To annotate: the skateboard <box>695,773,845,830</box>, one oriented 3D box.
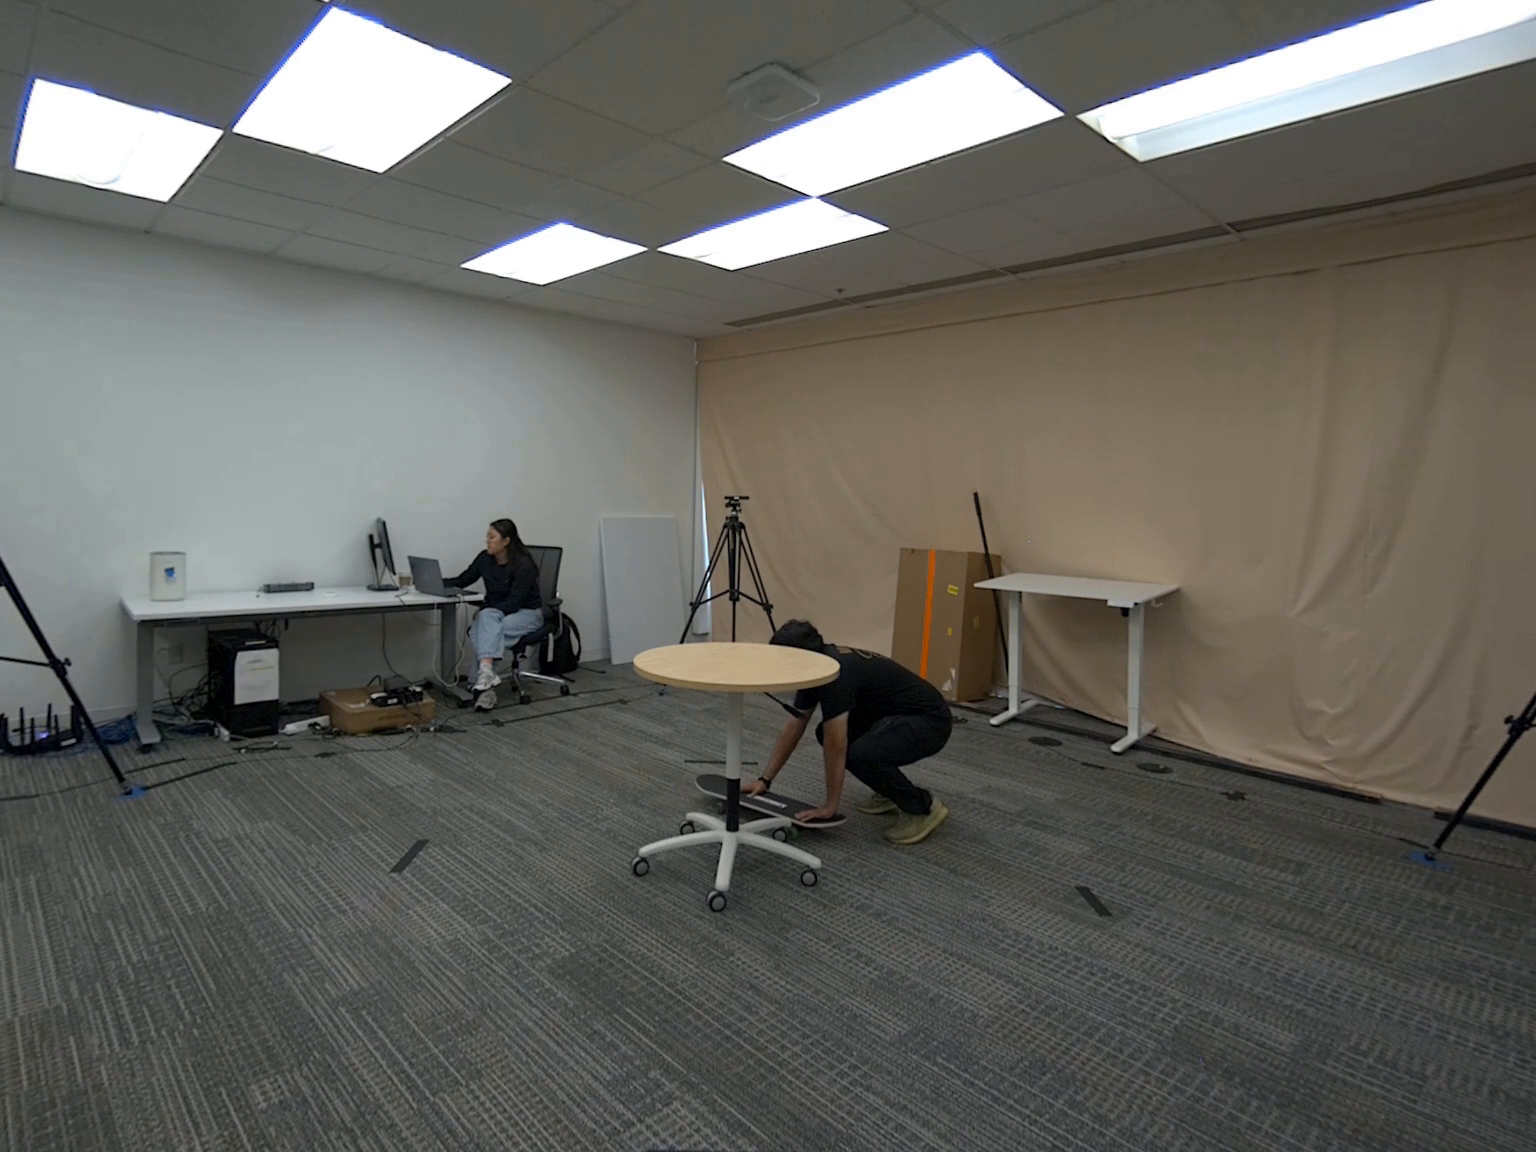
[{"bbox_3d":[-0.019,0.996,3.626,0.805,0.110,0.189,5,5,42],"label":"skateboard"}]
